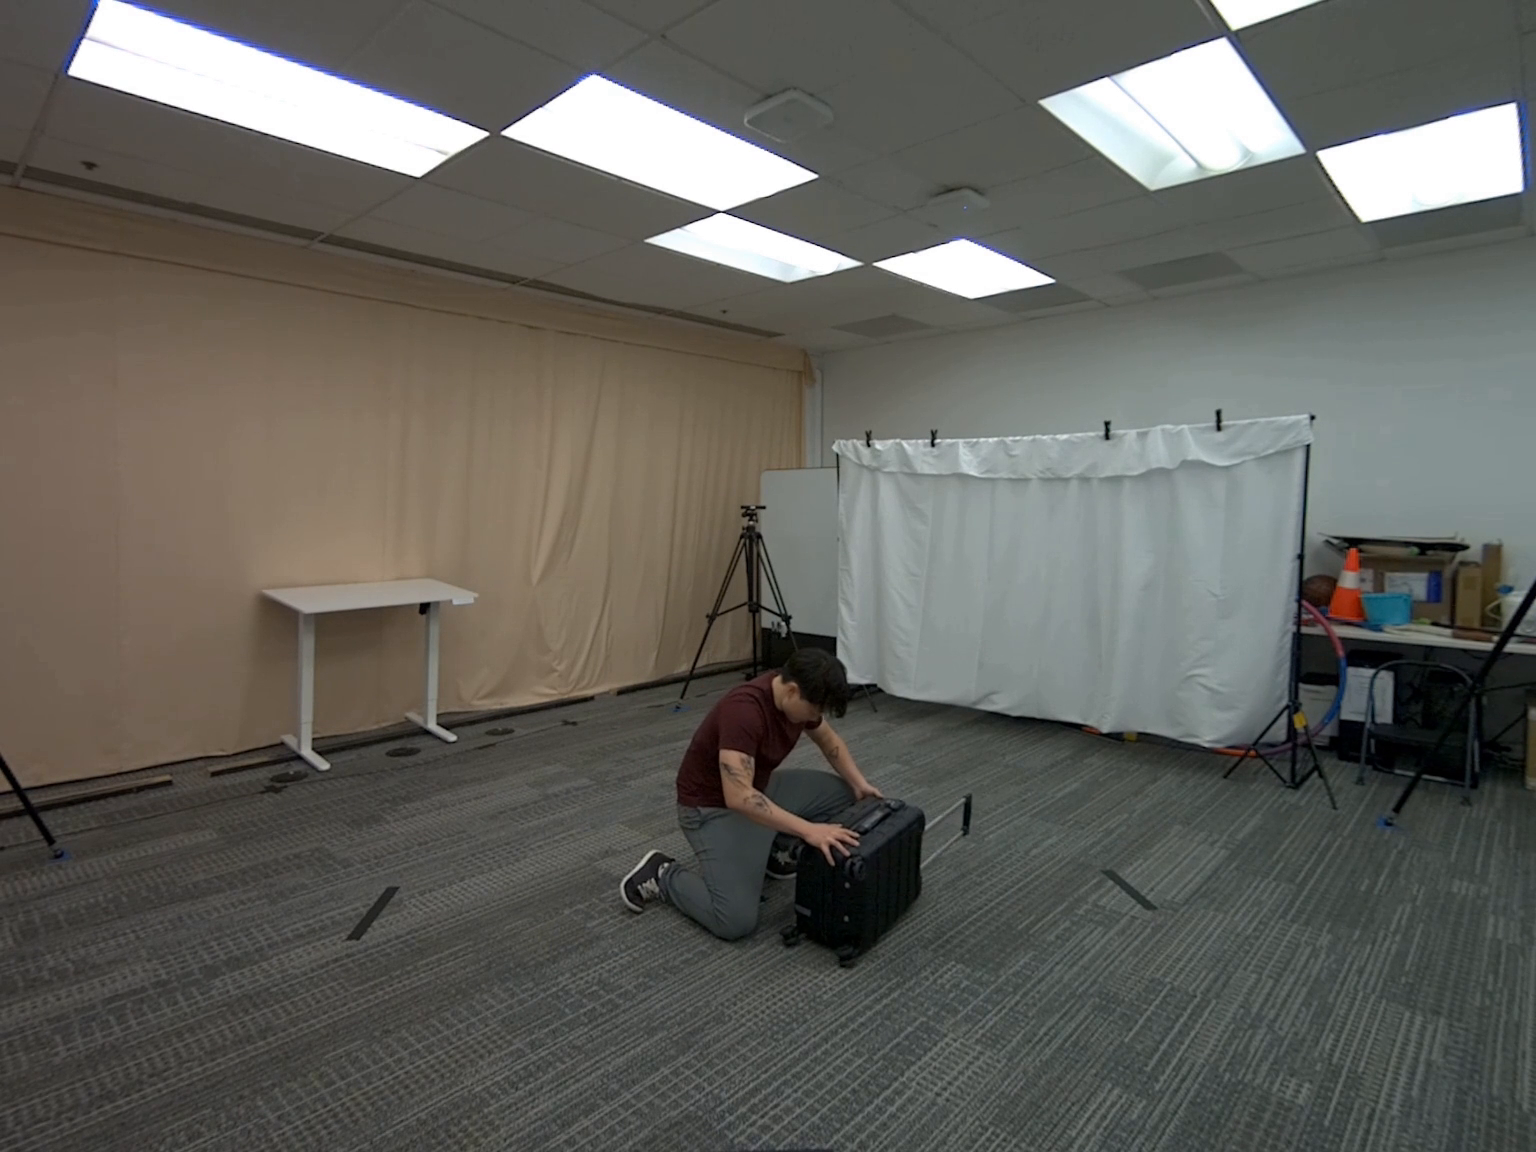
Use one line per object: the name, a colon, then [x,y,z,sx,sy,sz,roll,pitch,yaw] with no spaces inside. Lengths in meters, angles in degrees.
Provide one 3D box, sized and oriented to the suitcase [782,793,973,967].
suitcase: [0.430,0.951,2.940,0.265,0.382,0.951,6,9,34]
